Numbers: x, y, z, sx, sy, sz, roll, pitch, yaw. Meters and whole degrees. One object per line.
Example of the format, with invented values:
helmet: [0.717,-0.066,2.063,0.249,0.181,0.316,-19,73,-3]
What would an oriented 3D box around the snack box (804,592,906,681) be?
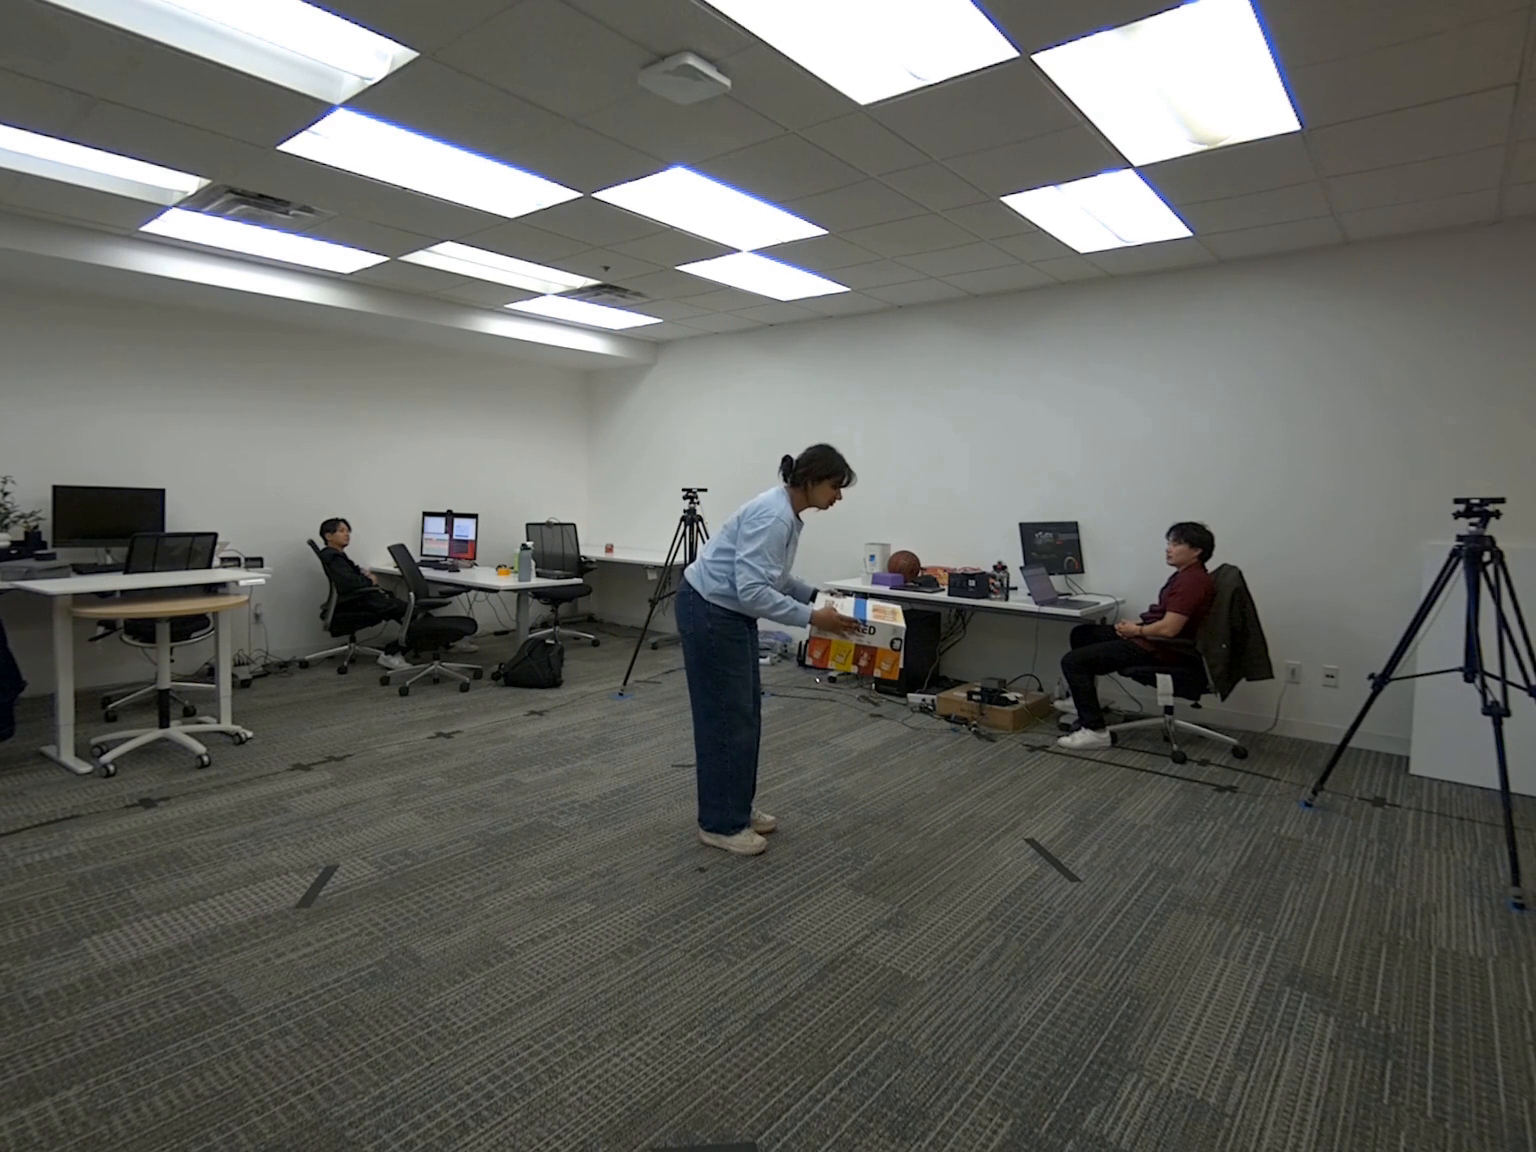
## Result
snack box: [0.331,0.222,3.300,0.344,0.204,0.404,8,9,6]
